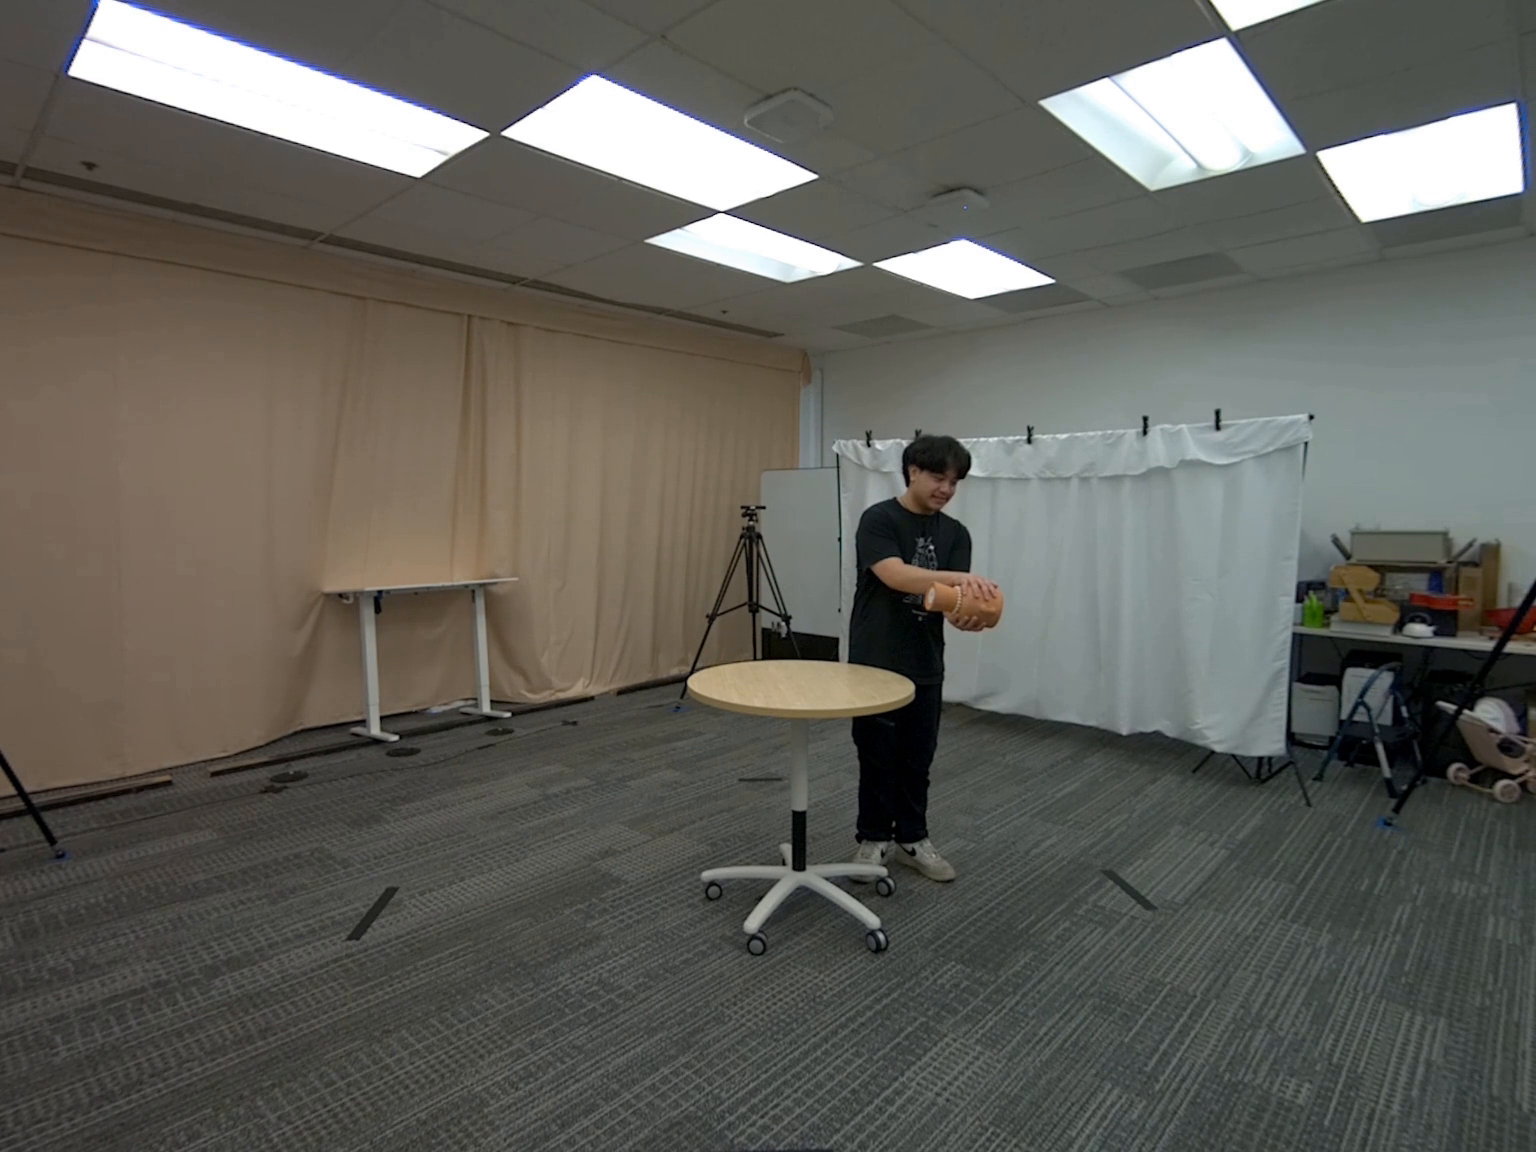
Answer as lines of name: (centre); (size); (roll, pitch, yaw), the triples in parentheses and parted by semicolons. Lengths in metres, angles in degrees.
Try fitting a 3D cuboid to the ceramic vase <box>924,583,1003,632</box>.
ceramic vase: (0.636, 0.091, 2.770); (0.219, 0.136, 0.157); (12, -33, -3)
